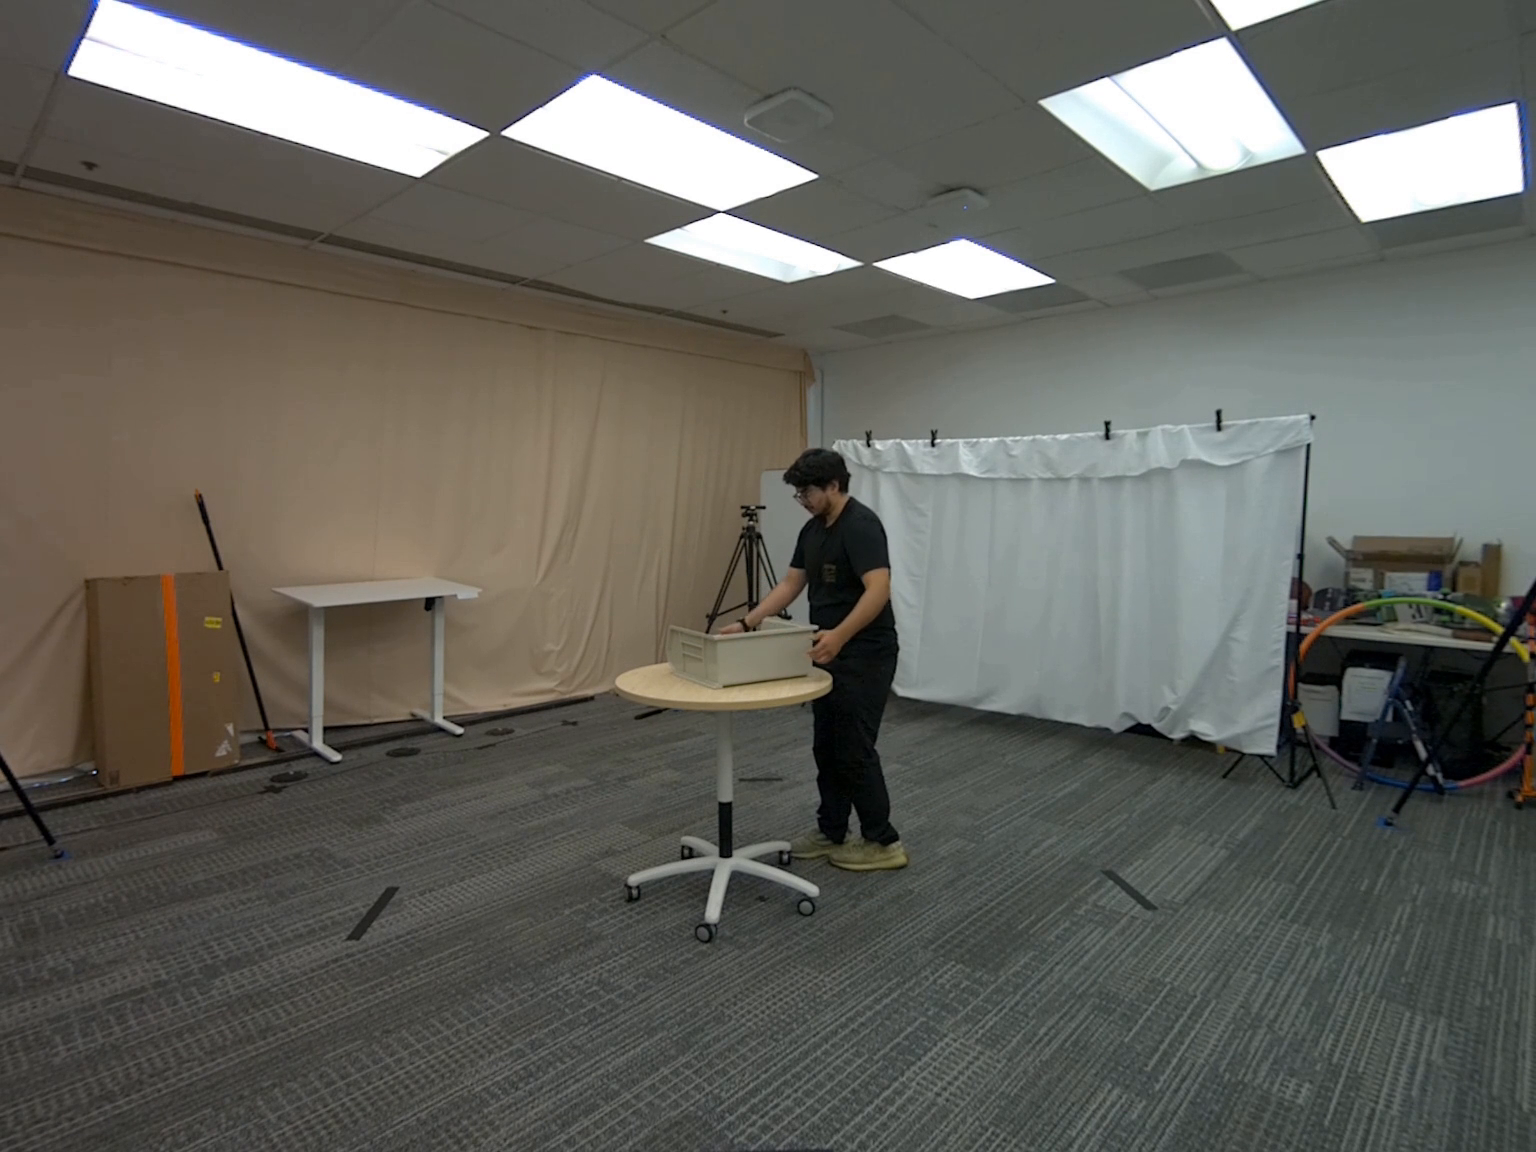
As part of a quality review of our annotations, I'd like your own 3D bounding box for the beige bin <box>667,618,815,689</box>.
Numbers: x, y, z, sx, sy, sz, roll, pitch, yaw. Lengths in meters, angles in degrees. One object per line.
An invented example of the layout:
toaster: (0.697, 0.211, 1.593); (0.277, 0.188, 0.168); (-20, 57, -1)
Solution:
beige bin: (-0.100, 0.266, 3.033); (0.411, 0.188, 0.389); (-2, 5, -31)
